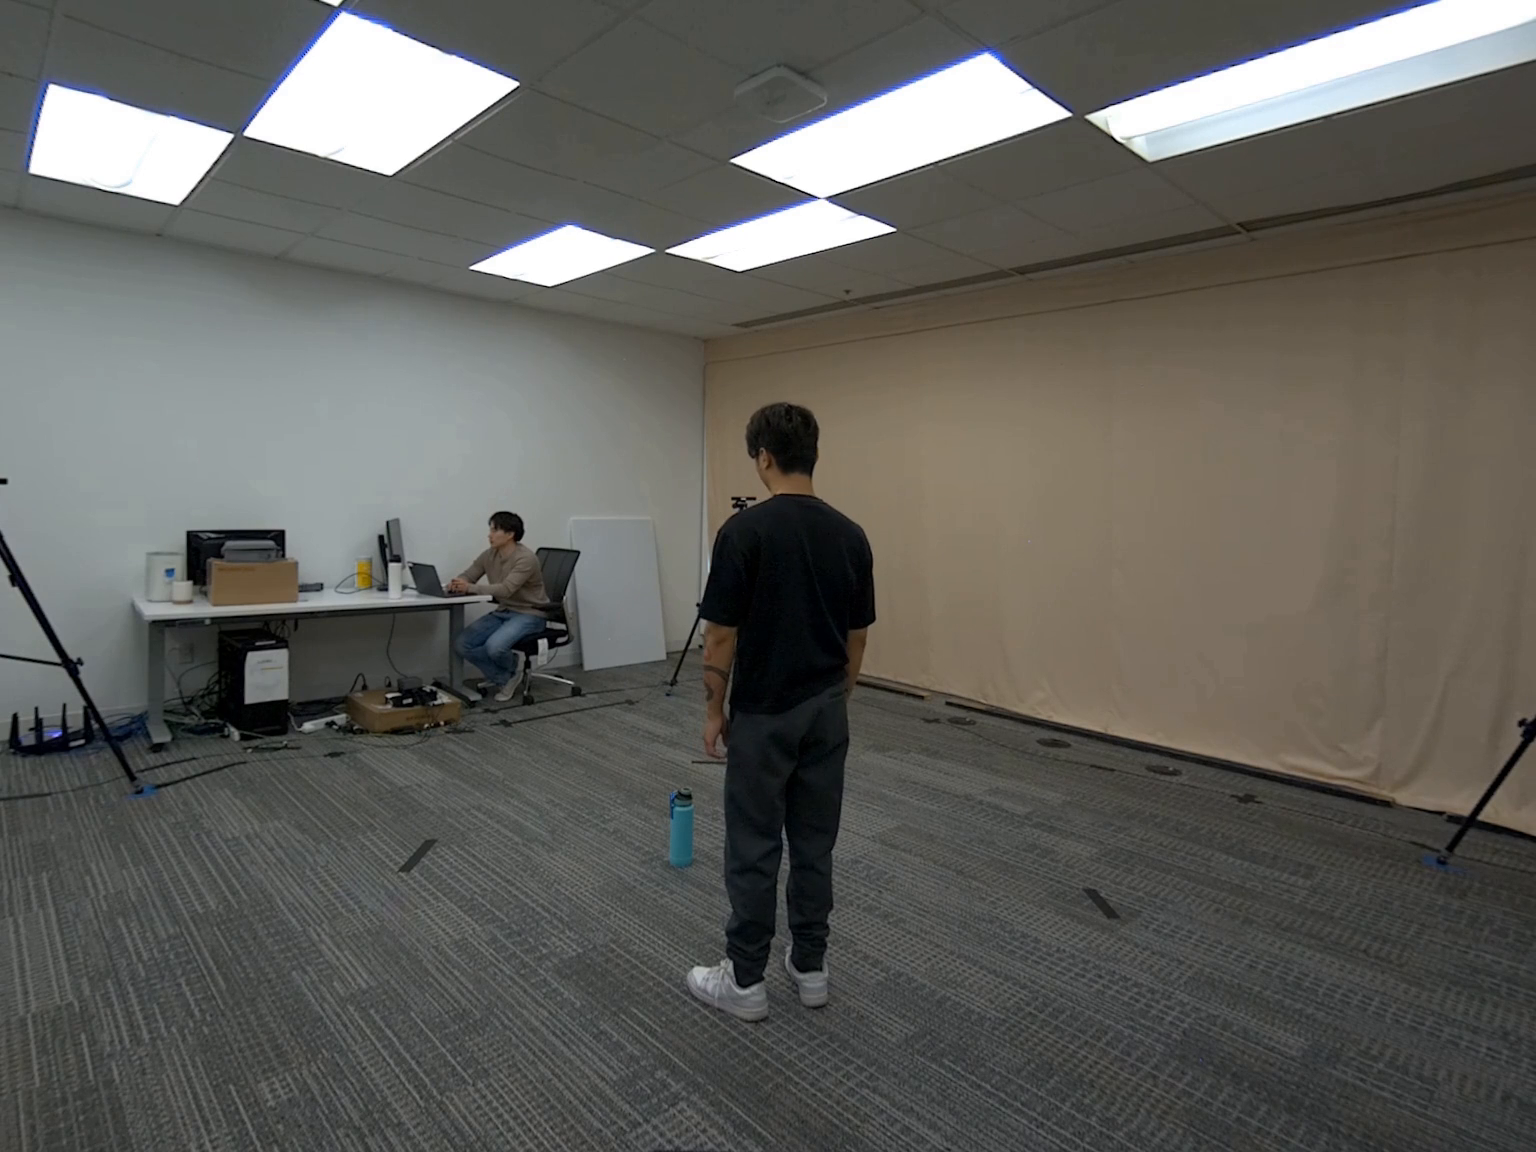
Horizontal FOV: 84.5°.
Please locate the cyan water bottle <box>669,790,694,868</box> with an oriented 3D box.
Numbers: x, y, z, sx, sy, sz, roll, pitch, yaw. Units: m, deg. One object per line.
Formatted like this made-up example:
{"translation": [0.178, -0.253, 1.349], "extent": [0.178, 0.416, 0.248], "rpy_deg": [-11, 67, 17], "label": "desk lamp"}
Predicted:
{"translation": [-0.339, 0.954, 3.208], "extent": [0.092, 0.283, 0.092], "rpy_deg": [1, 3, -1], "label": "cyan water bottle"}
